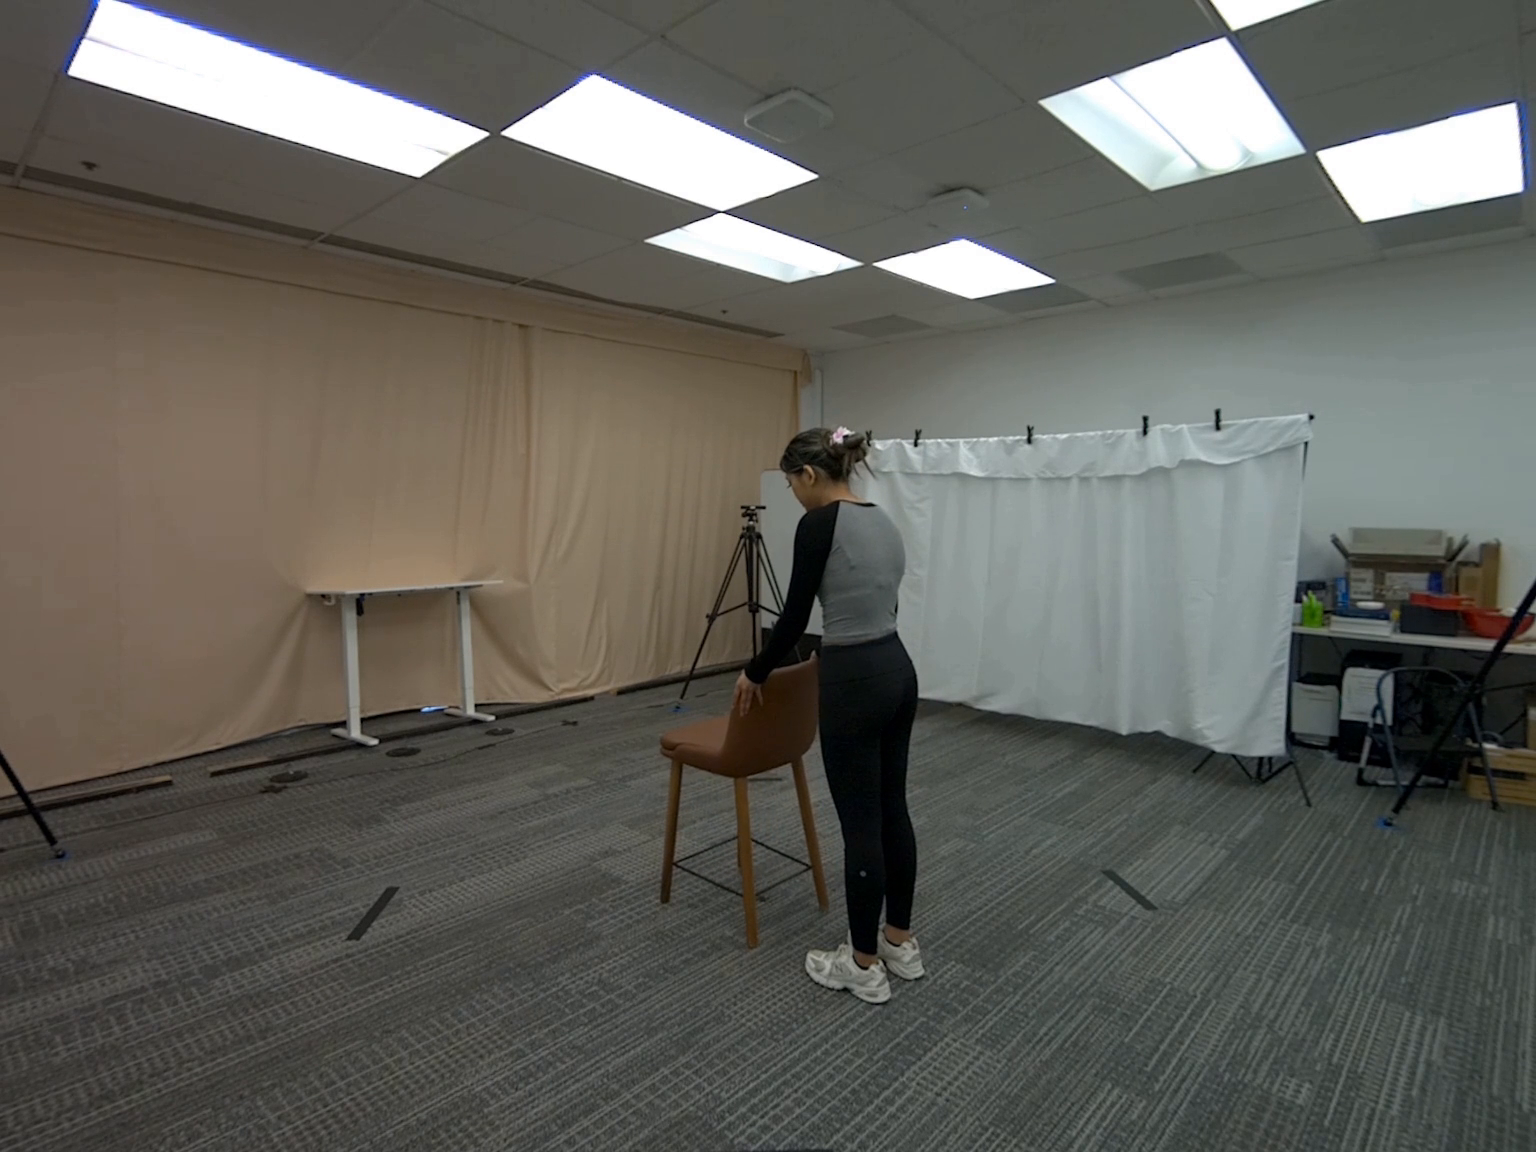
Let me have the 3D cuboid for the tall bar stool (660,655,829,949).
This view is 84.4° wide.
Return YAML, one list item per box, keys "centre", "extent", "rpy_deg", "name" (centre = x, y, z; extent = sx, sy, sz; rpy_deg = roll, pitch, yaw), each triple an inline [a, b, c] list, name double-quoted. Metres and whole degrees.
- centre: [-0.083, 0.708, 2.892]
  extent: [0.443, 0.886, 0.484]
  rpy_deg: [-6, 9, -44]
  name: "tall bar stool"
